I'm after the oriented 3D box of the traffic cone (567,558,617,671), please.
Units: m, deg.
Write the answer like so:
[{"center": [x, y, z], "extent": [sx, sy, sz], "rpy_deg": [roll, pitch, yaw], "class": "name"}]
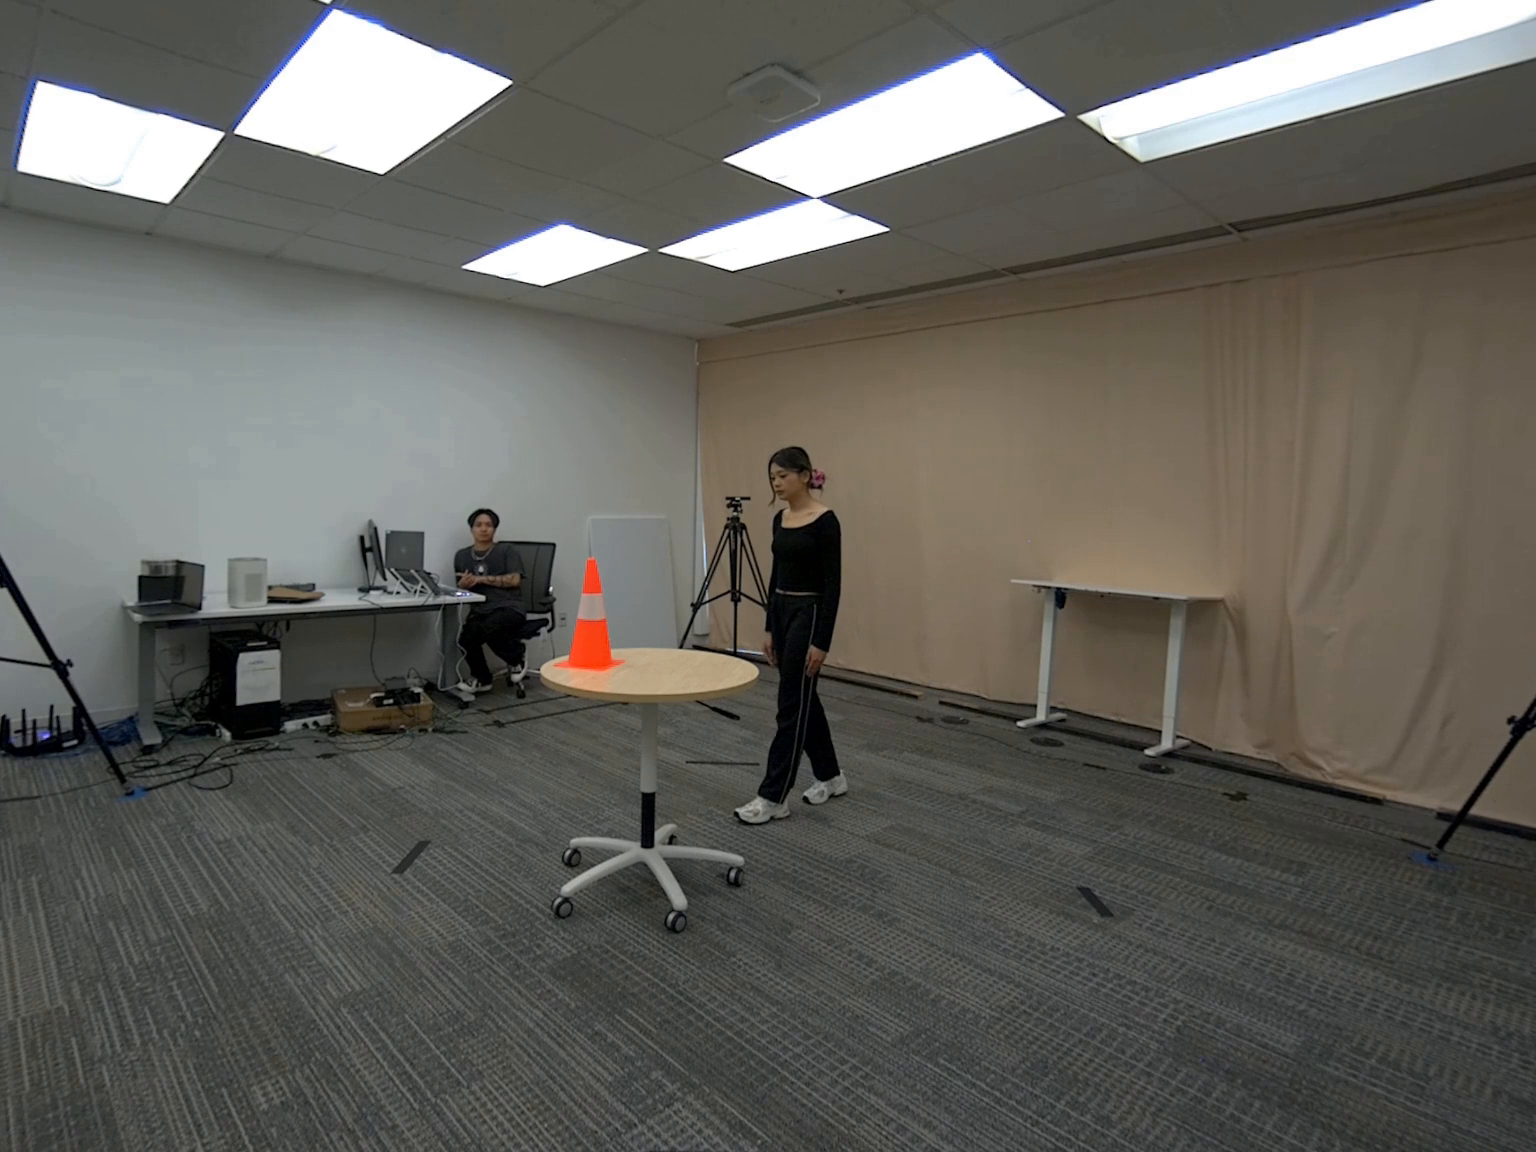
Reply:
[{"center": [-0.645, 0.130, 3.010], "extent": [0.206, 0.383, 0.202], "rpy_deg": [1, 2, 8], "class": "traffic cone"}]
